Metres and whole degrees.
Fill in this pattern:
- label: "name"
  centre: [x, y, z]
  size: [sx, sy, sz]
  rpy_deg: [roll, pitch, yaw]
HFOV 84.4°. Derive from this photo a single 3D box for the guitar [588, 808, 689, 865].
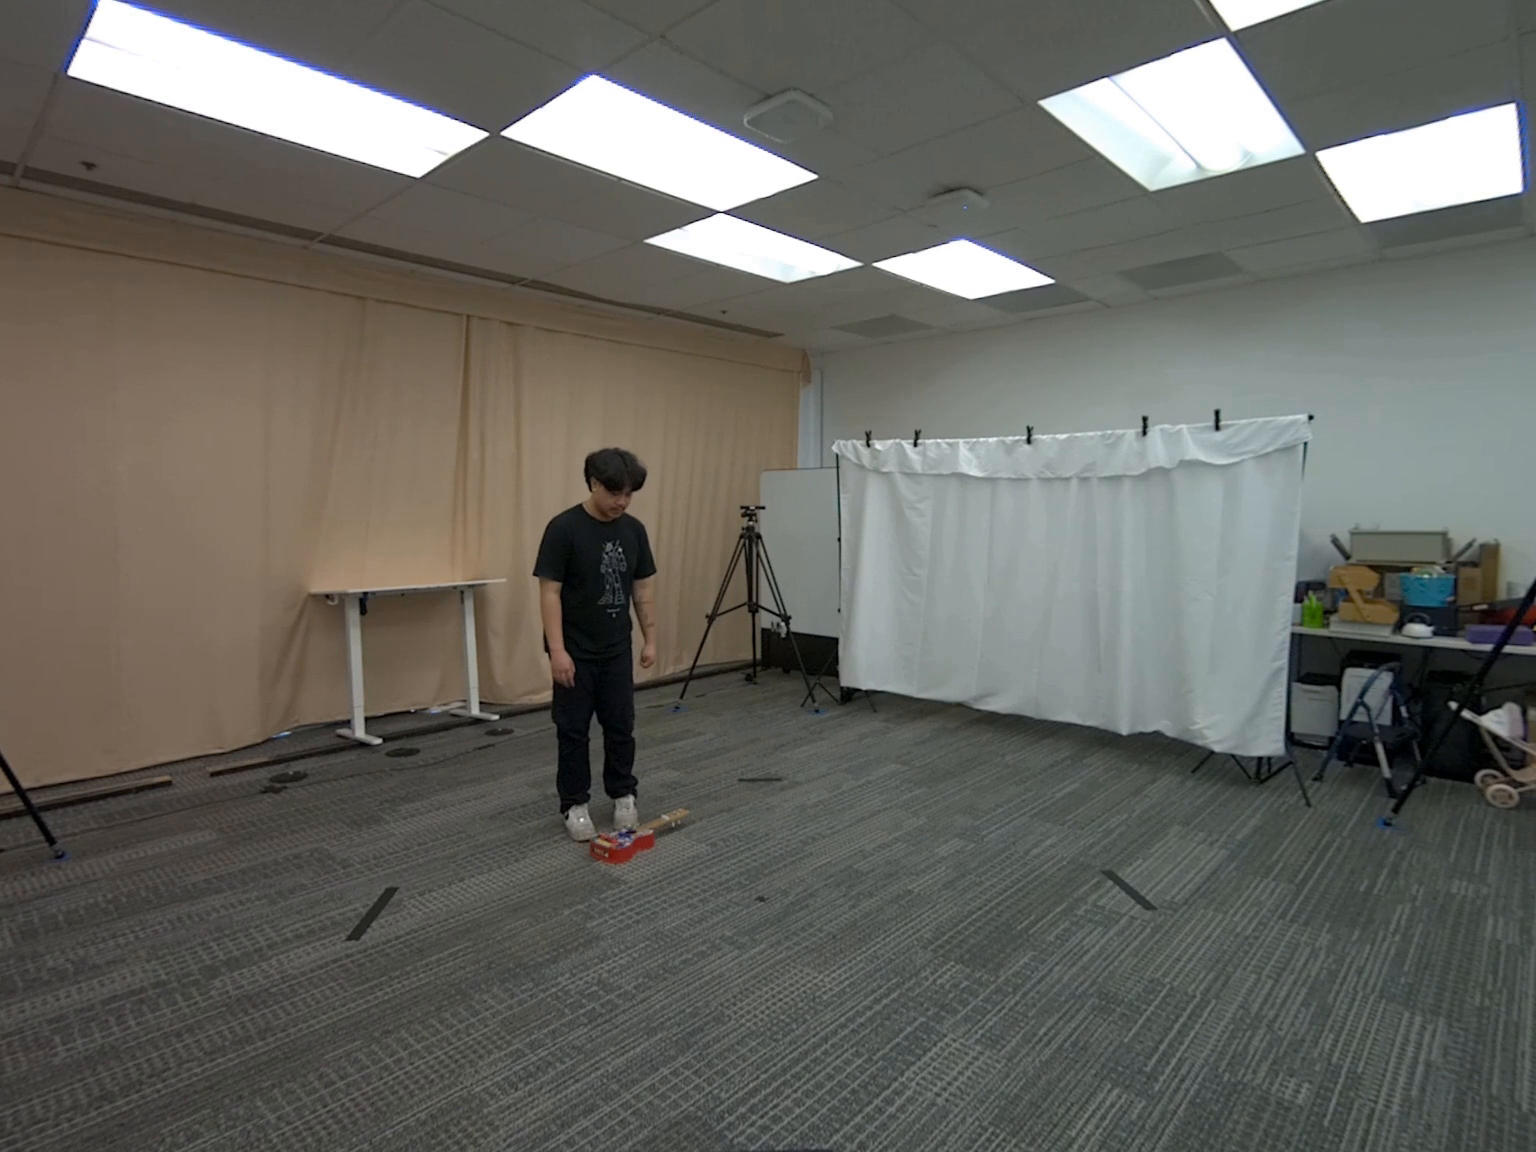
- label: "guitar"
  centre: [-0.498, 1.075, 3.487]
  size: [0.483, 0.070, 0.199]
  rpy_deg: [-6, 6, -40]
